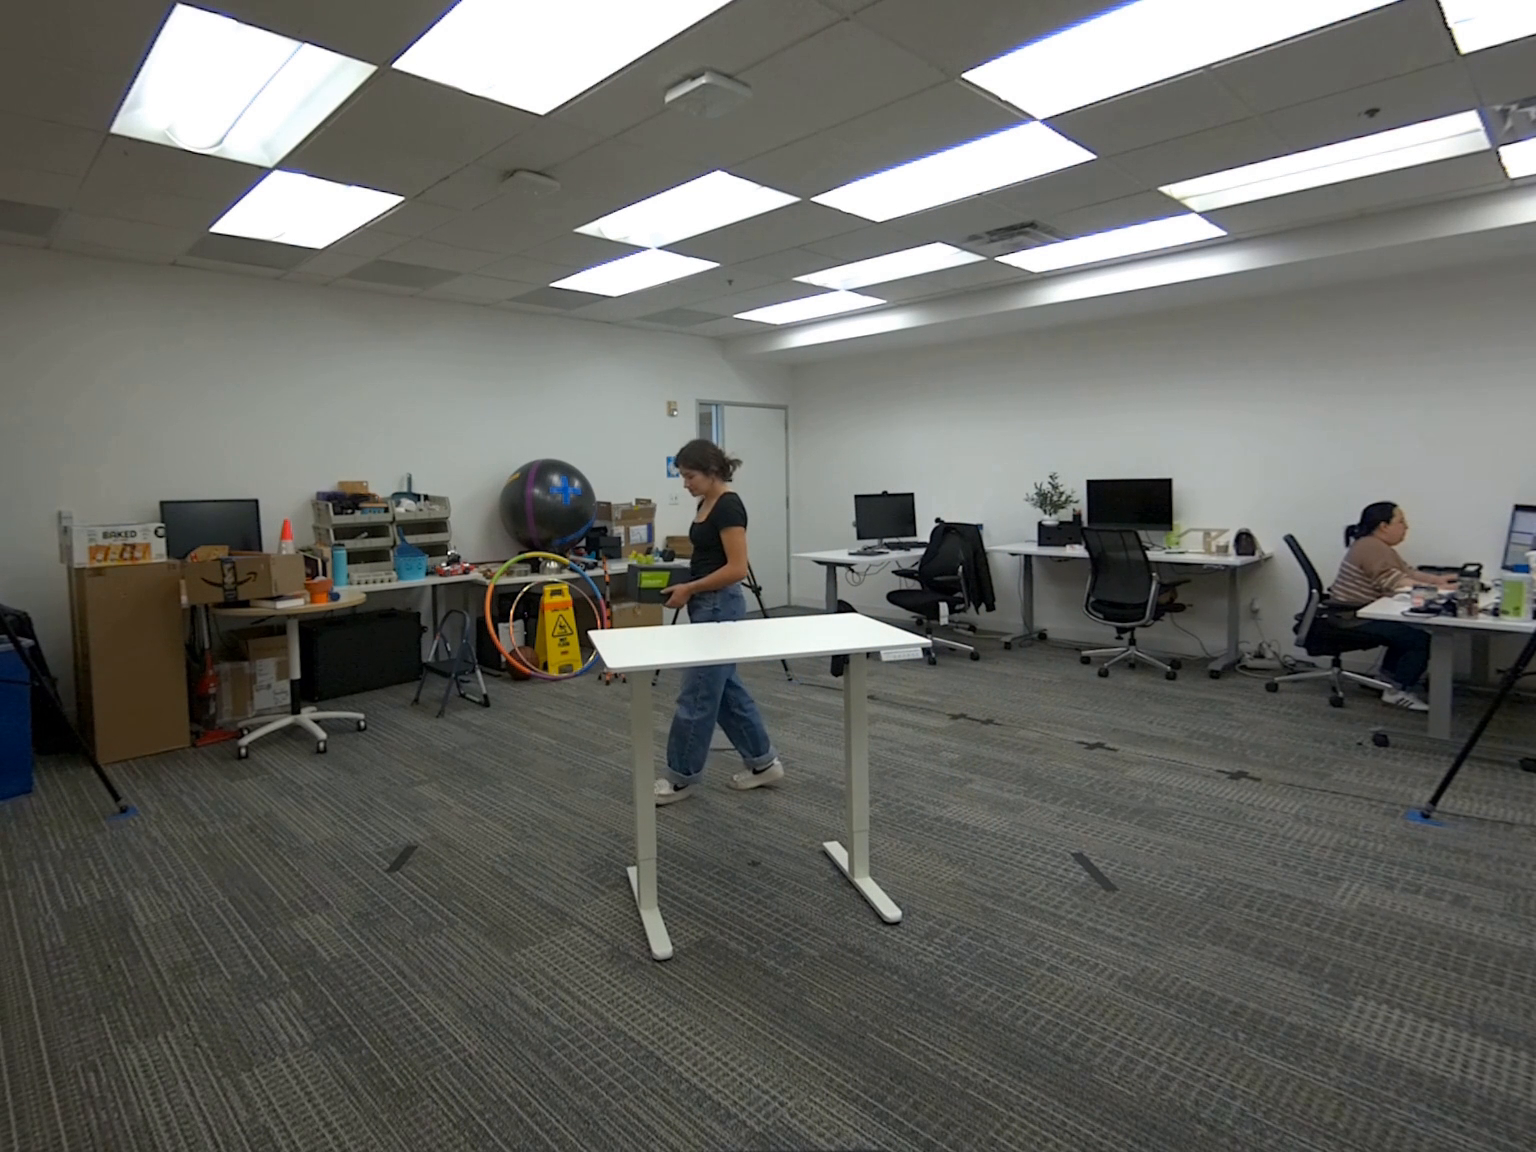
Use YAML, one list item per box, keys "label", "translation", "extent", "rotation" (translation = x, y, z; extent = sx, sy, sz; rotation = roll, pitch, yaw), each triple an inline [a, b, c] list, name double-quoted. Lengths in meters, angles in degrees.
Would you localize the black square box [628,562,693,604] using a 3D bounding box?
- label: "black square box"
  translation: [-0.467, 0.027, 3.713]
  extent: [0.223, 0.156, 0.222]
  rotation: [1, 3, -22]
